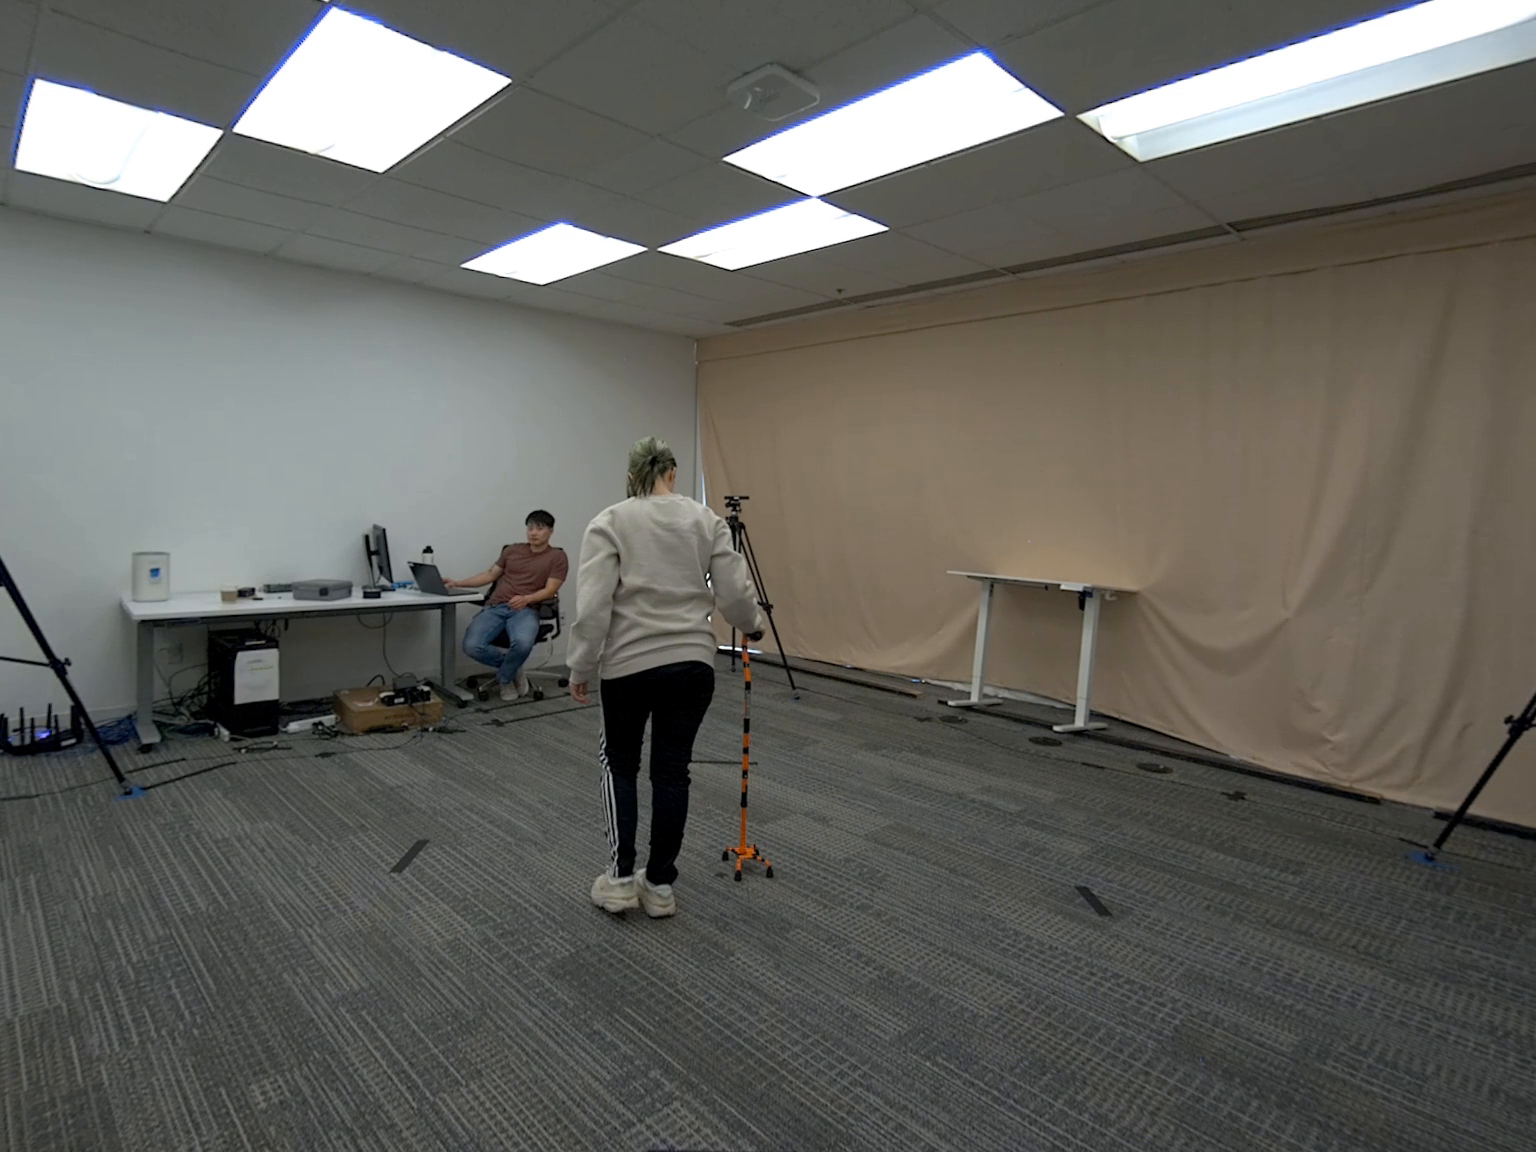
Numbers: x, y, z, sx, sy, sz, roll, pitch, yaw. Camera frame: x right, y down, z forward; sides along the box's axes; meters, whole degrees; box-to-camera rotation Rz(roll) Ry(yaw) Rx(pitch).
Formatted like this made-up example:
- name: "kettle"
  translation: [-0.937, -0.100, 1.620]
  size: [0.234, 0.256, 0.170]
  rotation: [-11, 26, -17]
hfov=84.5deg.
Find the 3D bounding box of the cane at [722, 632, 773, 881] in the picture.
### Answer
- name: "cane"
  translation: [-0.070, 0.649, 3.140]
  size: [0.149, 0.906, 0.210]
  rotation: [1, 3, -18]
